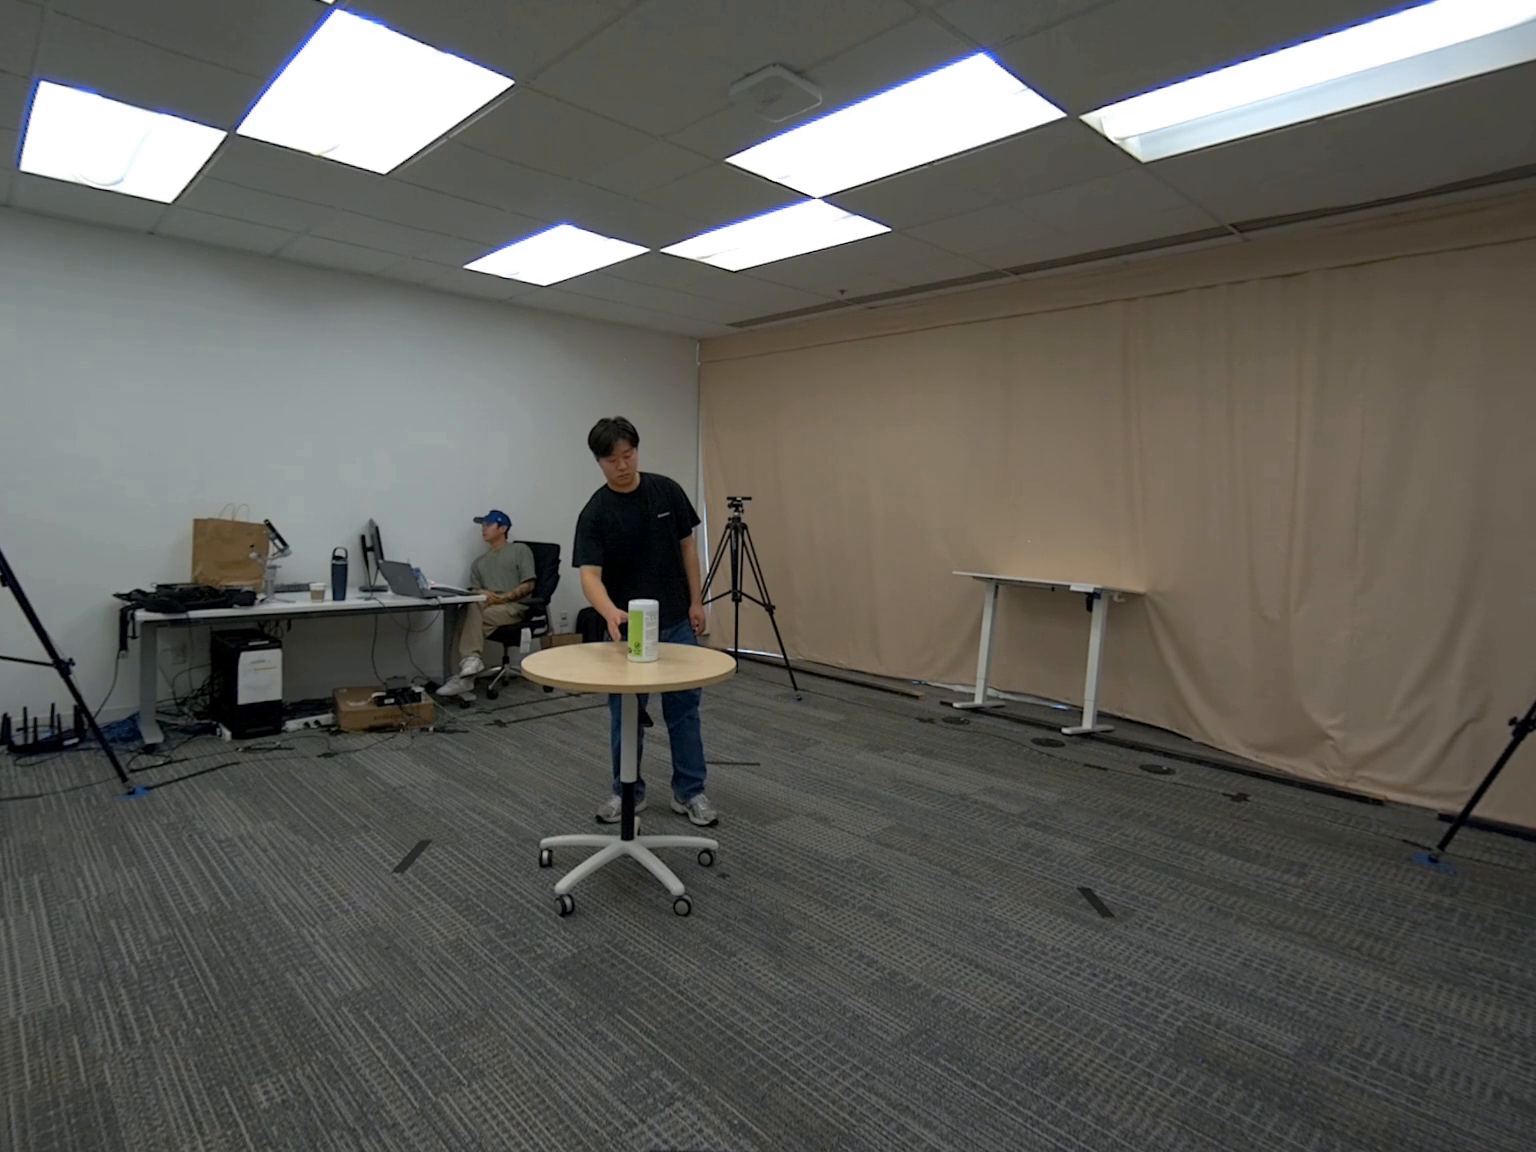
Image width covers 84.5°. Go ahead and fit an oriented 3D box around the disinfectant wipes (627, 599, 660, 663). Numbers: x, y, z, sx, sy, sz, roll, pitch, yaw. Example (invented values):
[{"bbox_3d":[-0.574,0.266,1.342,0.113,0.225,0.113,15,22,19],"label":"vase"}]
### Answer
[{"bbox_3d":[-0.465,0.203,3.054,0.118,0.217,0.118,-1,4,-1],"label":"disinfectant wipes"}]
